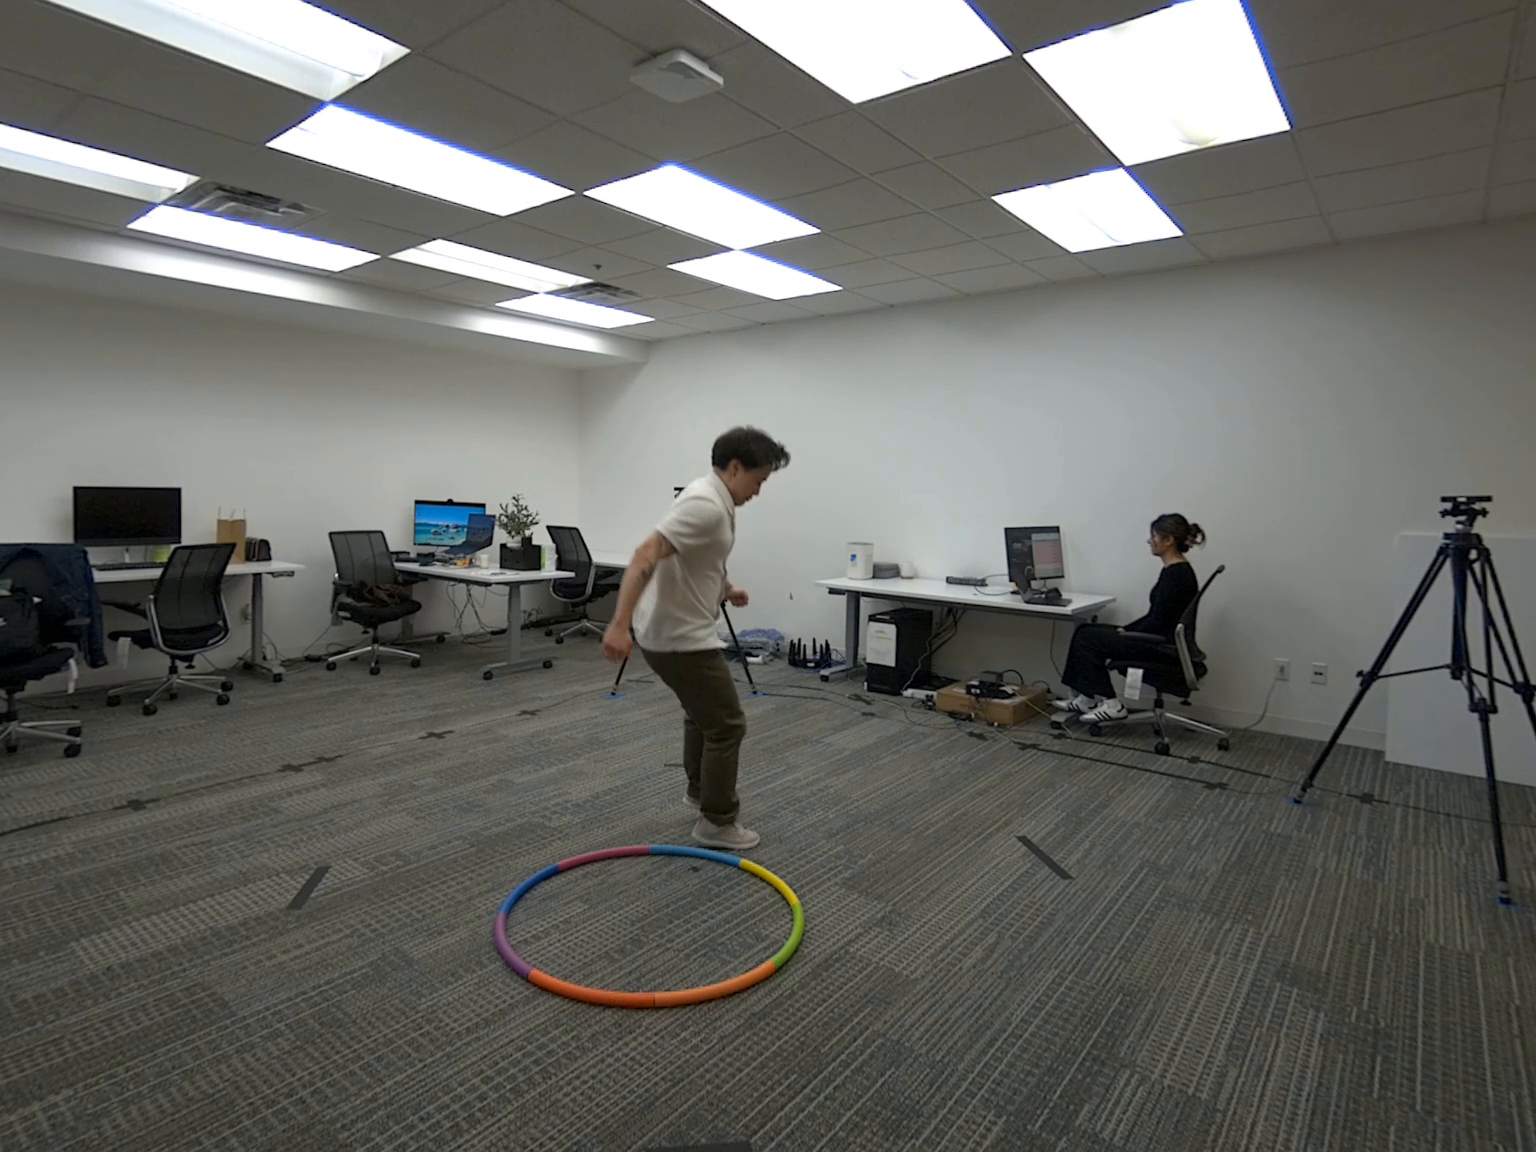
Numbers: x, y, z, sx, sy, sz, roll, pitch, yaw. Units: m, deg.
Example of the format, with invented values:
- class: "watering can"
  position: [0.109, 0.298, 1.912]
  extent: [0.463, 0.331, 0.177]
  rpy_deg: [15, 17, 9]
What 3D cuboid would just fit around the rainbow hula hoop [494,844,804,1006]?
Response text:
- class: "rainbow hula hoop"
  position: [-0.383, 1.068, 2.754]
  extent: [0.978, 0.035, 0.984]
  rpy_deg: [0, 6, -2]
